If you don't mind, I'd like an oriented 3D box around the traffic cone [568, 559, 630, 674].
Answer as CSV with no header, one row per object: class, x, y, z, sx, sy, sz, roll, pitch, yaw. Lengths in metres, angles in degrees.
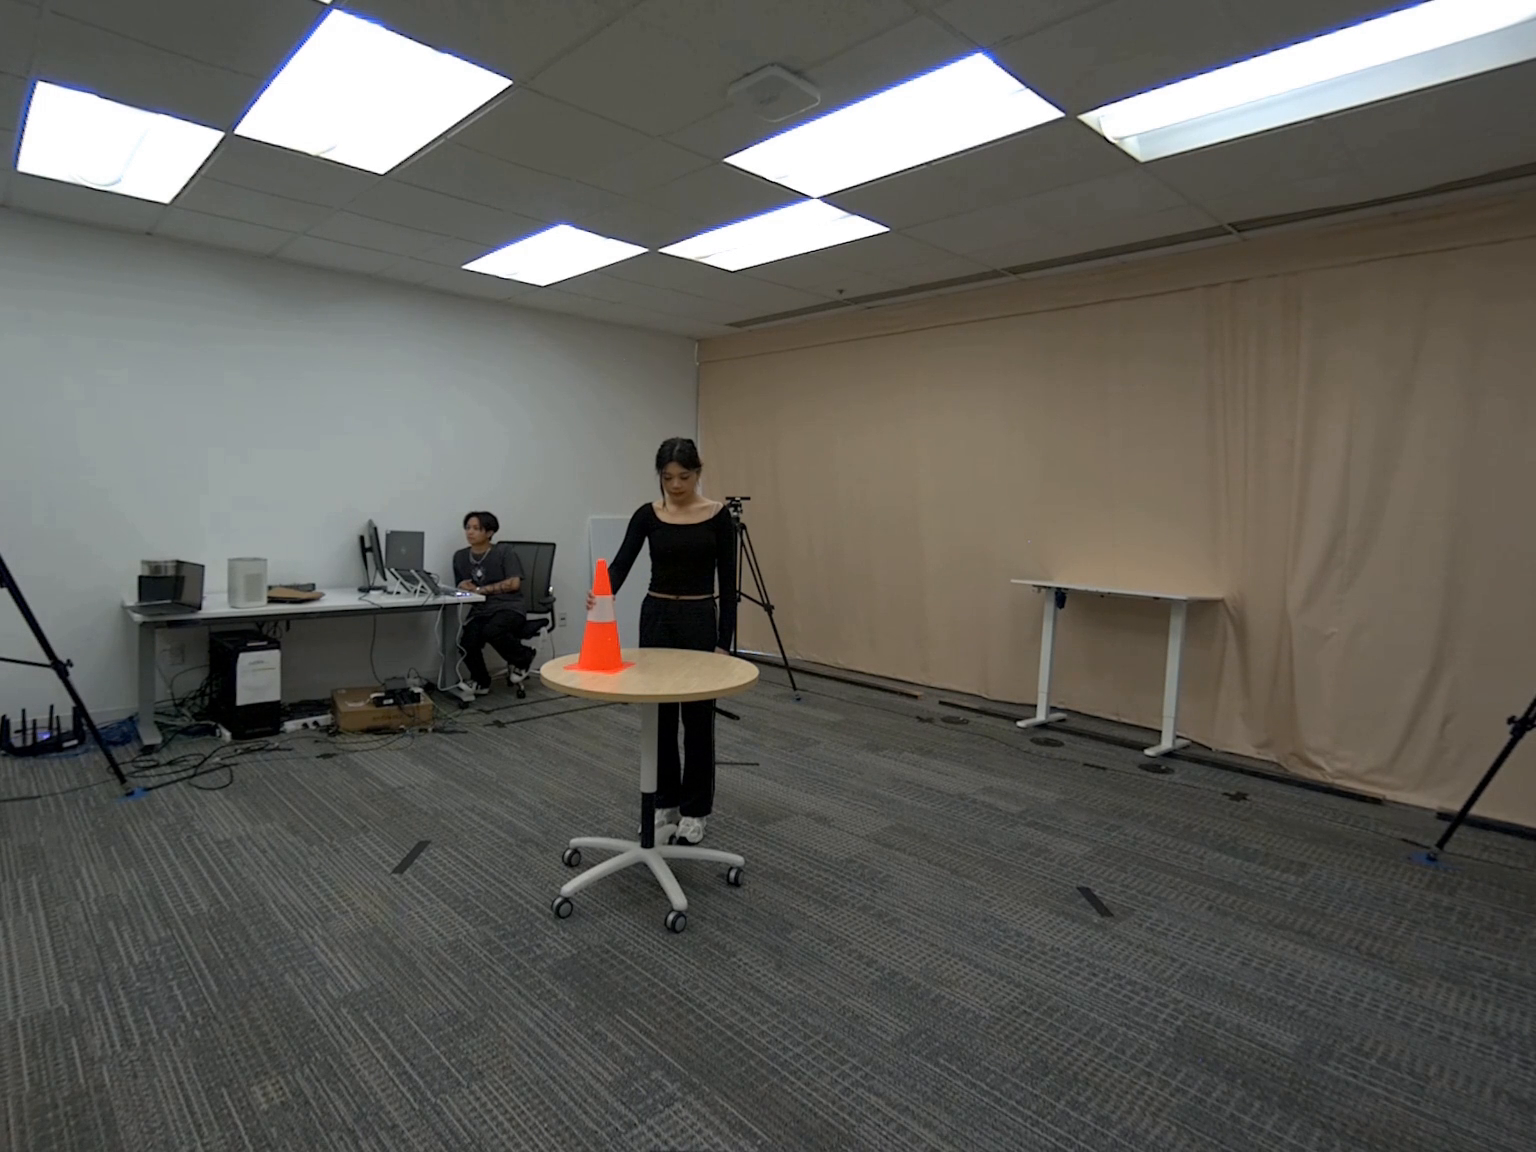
traffic cone,-0.605,0.133,2.988,0.206,0.384,0.202,0,0,9
